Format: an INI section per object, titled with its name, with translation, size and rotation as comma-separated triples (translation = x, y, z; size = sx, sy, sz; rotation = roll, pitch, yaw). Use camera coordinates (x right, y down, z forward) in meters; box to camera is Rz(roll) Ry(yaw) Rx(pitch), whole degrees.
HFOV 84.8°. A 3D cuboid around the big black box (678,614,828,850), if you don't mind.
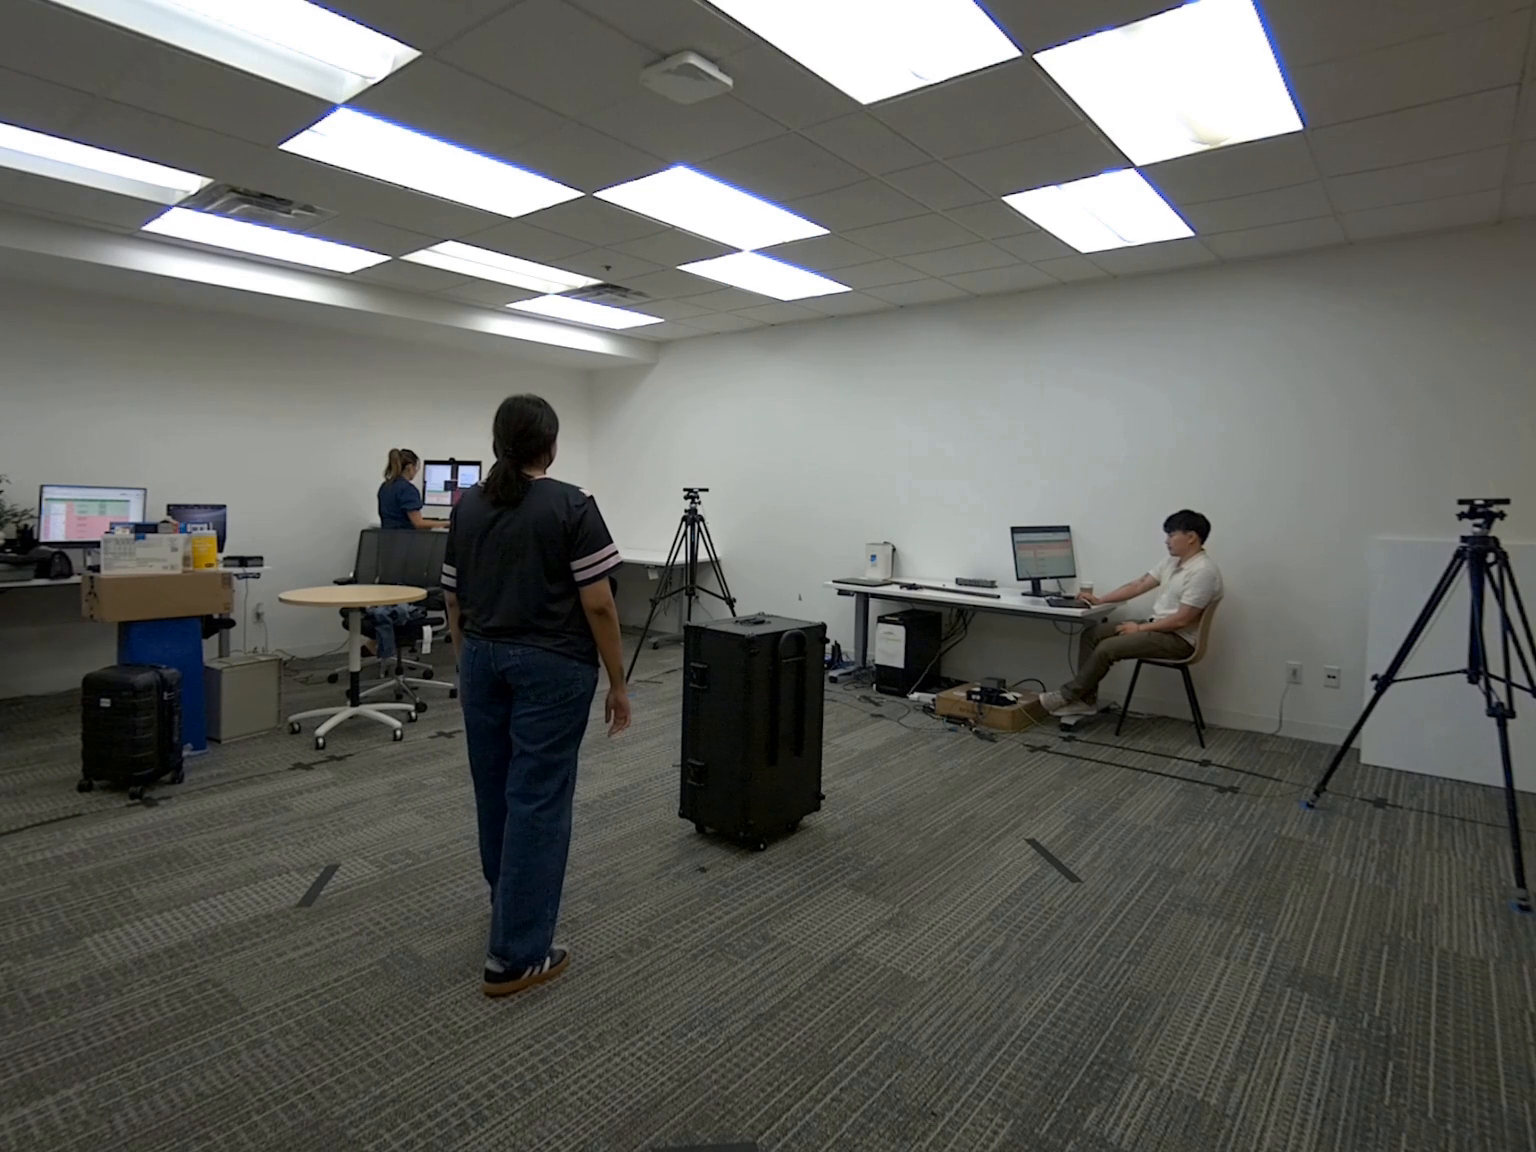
[big black box]
translation = -0.061, 0.616, 3.462
size = 0.398, 0.866, 0.508
rotation = 4, 5, 40
